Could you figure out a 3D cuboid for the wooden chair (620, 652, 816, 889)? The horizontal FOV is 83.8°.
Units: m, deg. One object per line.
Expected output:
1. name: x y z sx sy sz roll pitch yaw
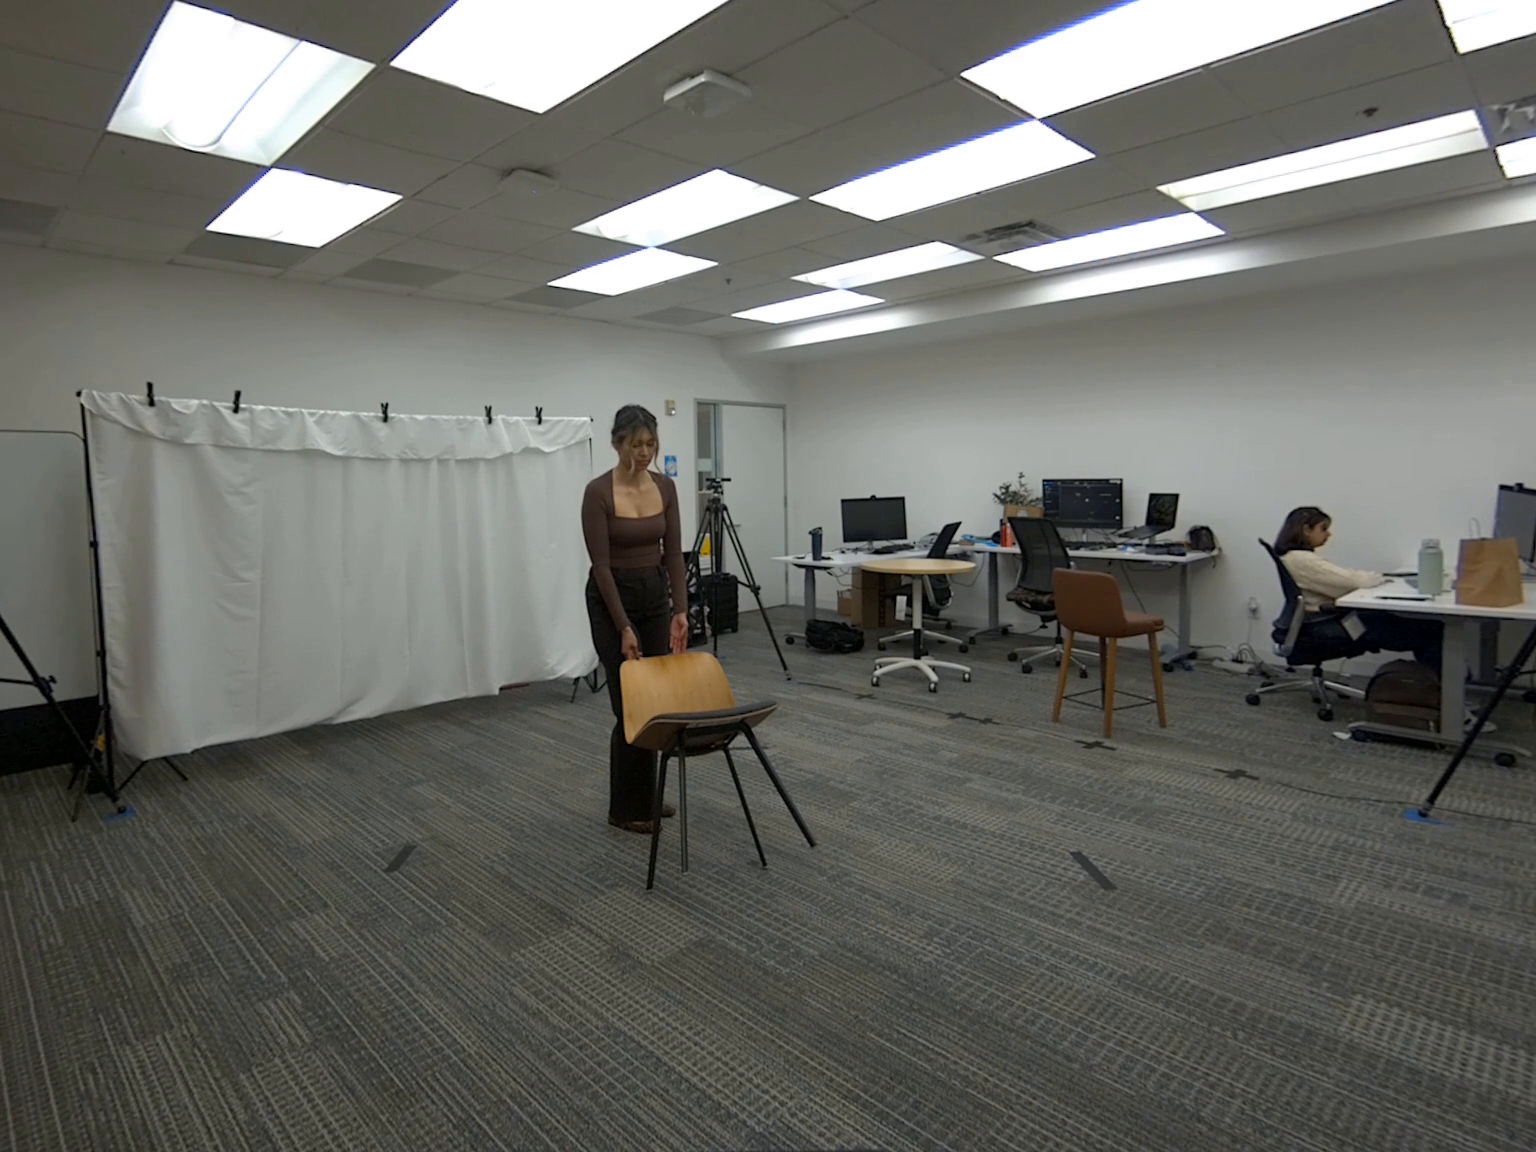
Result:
1. wooden chair: -0.221 0.573 2.970 0.469 0.902 0.519 -3 -30 -23
